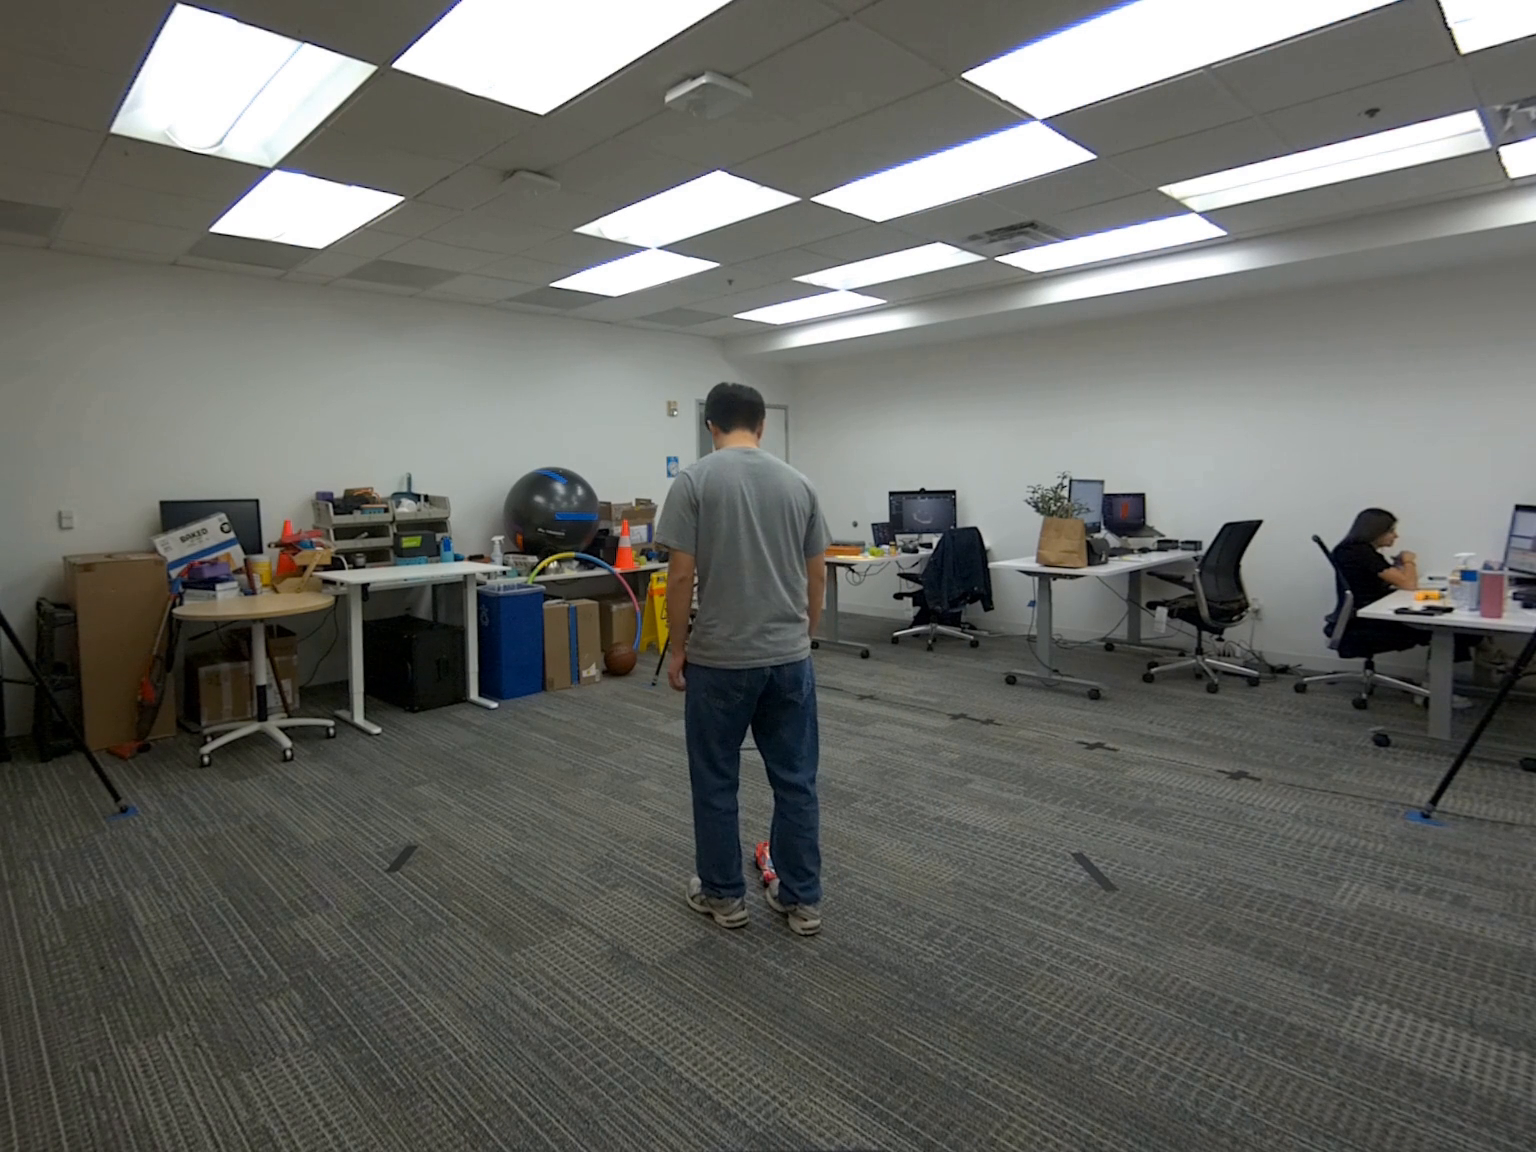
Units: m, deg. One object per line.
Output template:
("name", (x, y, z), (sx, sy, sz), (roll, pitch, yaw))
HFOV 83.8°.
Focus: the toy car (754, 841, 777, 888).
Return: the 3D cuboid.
("toy car", (0.024, 1.020, 3.026), (0.129, 0.082, 0.260), (-3, 17, -7))
